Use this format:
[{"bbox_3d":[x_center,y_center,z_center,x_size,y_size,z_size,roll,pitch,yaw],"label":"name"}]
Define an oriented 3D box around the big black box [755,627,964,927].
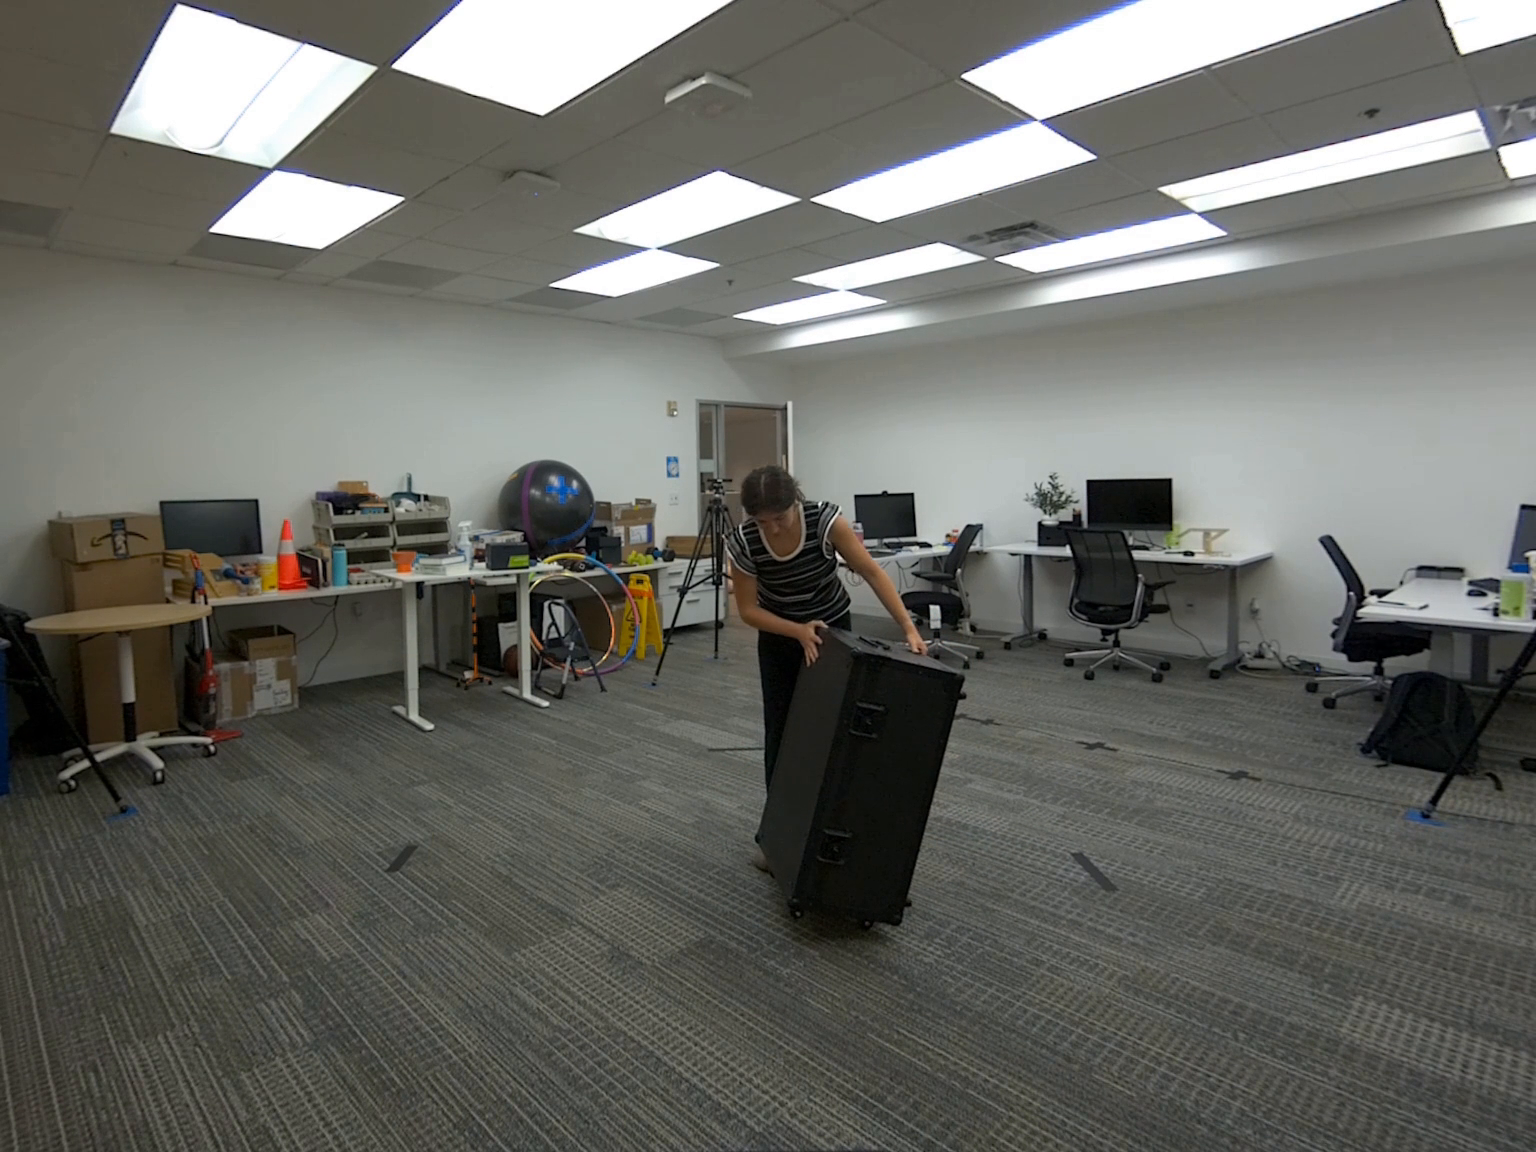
[{"bbox_3d":[0.282,0.644,2.748,0.391,0.861,0.528,14,1,-12],"label":"big black box"}]
